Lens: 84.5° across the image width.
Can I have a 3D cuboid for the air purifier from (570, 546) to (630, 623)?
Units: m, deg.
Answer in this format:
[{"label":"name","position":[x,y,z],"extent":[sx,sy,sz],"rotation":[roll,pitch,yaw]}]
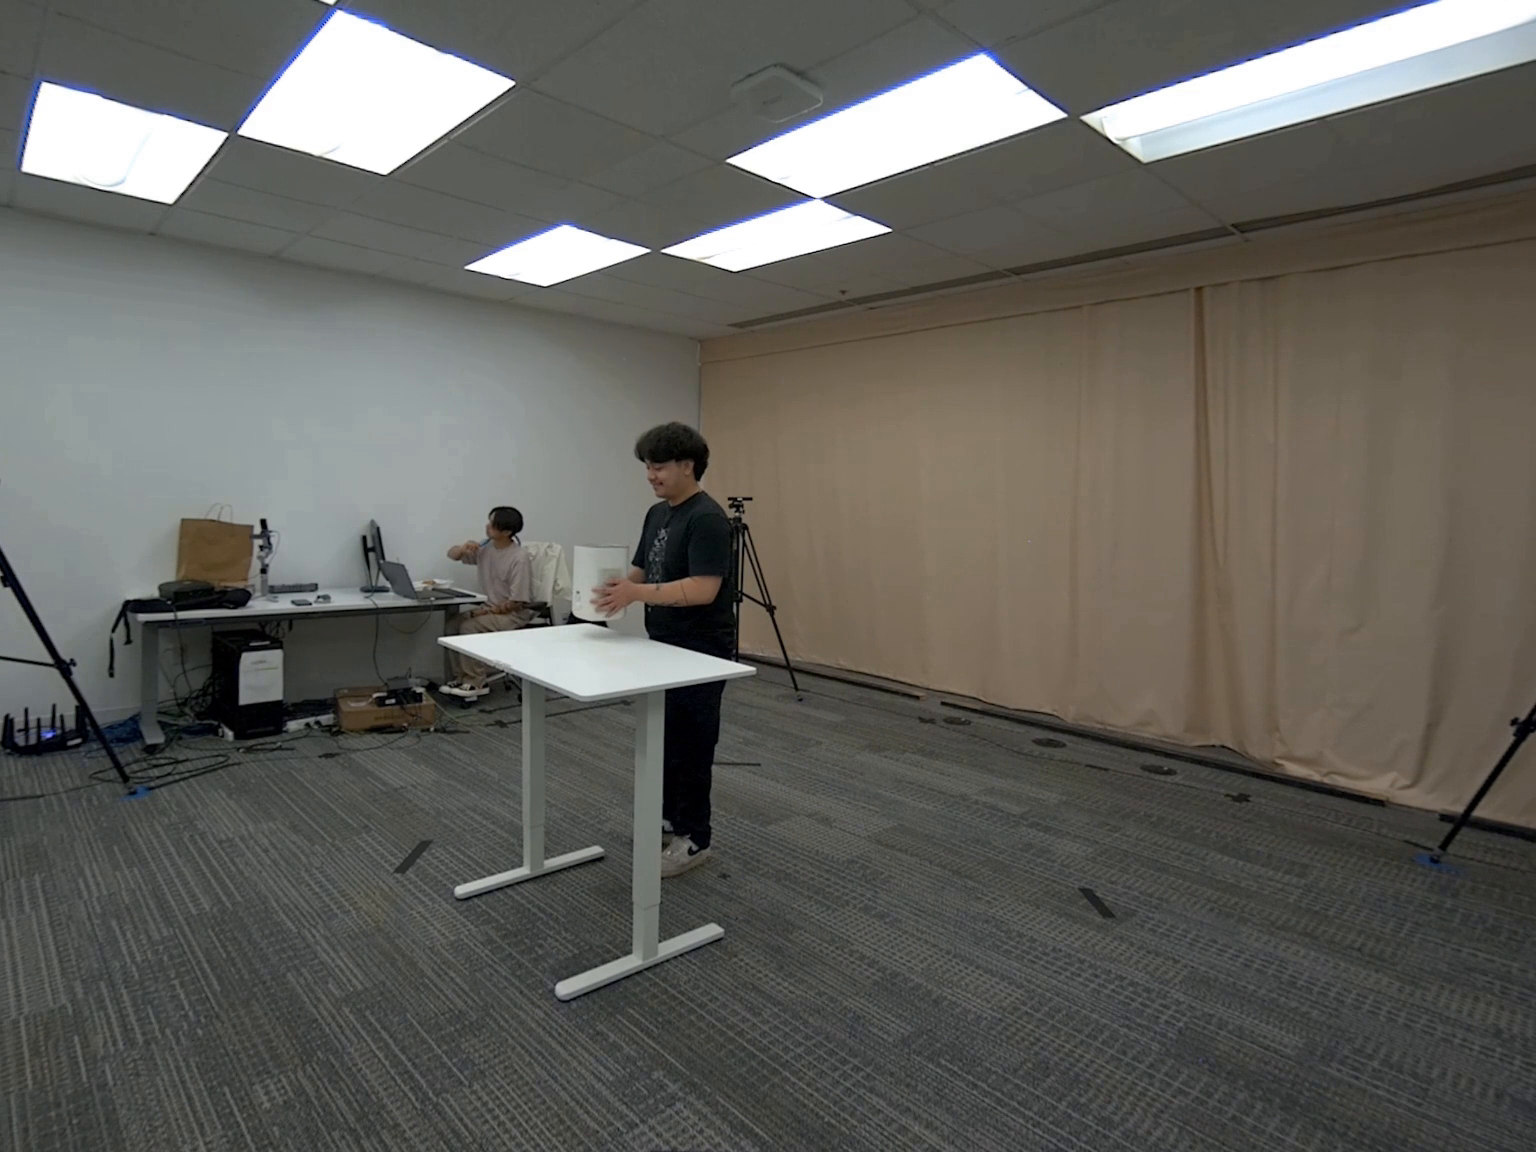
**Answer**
[{"label":"air purifier","position":[-0.607,0.020,3.020],"extent":[0.168,0.265,0.175],"rotation":[0,4,-38]}]
